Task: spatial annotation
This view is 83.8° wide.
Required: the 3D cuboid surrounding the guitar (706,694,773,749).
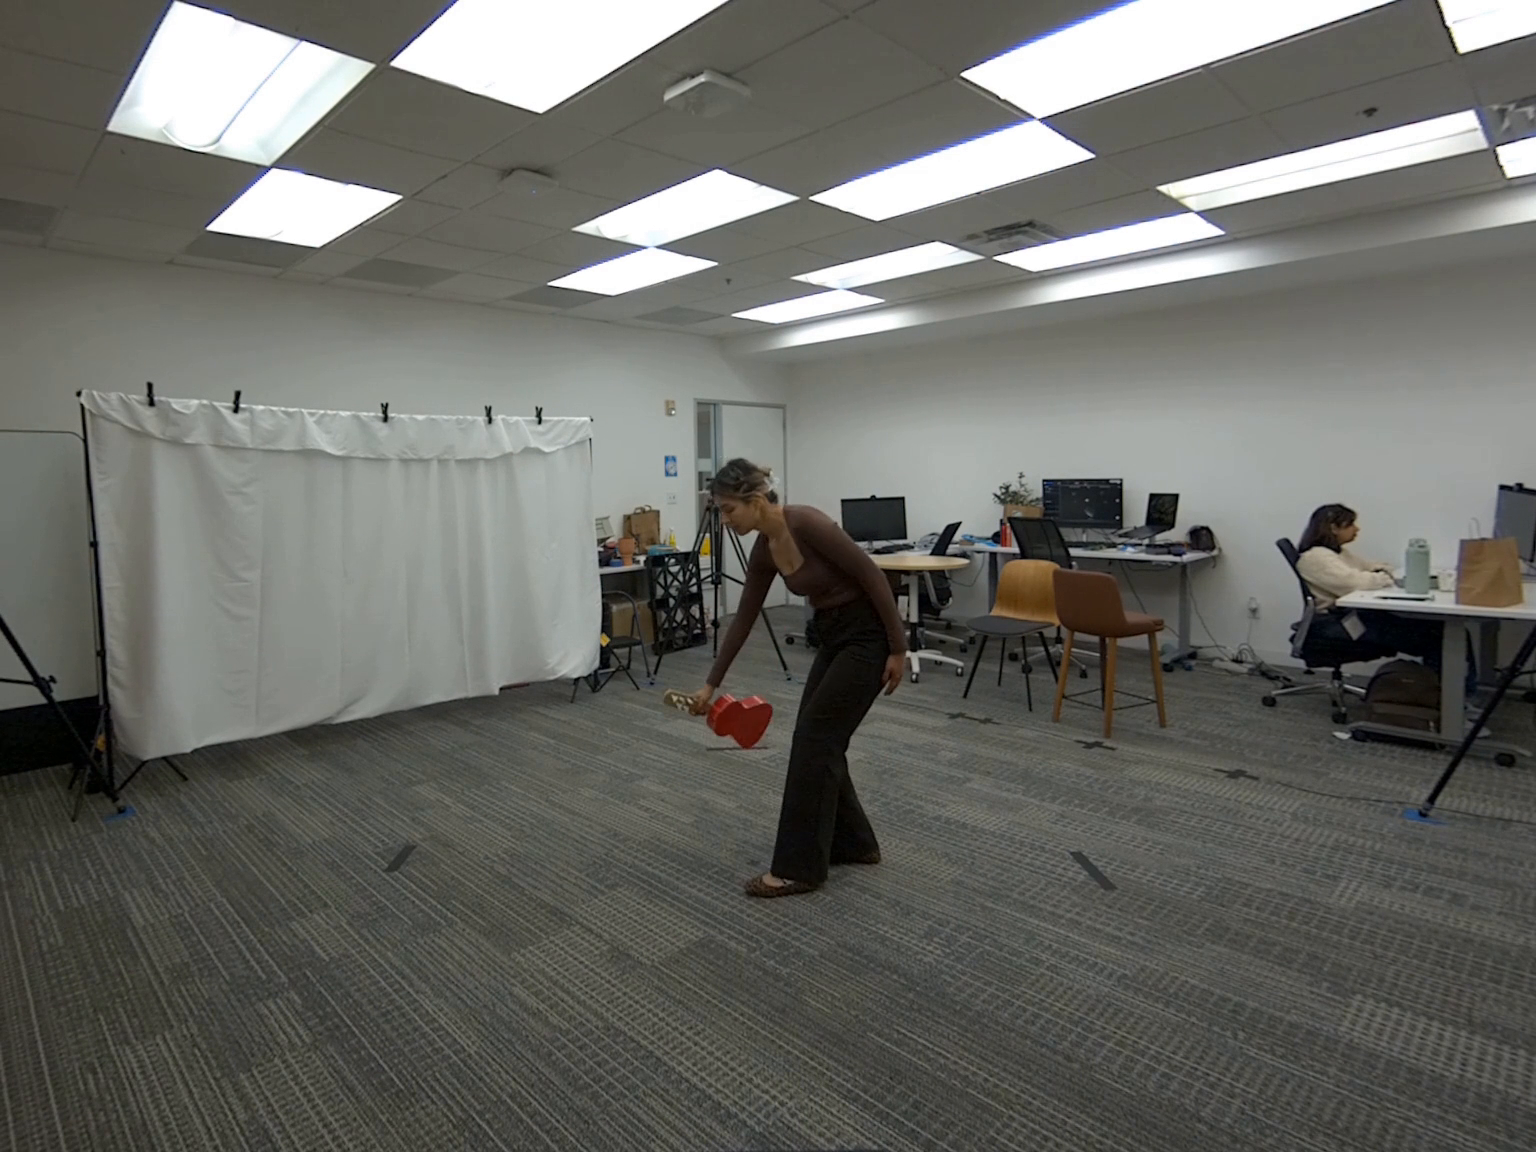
[{"bbox_3d":[-0.191,0.529,3.147,0.481,0.192,0.073,12,12,-42],"label":"guitar"}]
